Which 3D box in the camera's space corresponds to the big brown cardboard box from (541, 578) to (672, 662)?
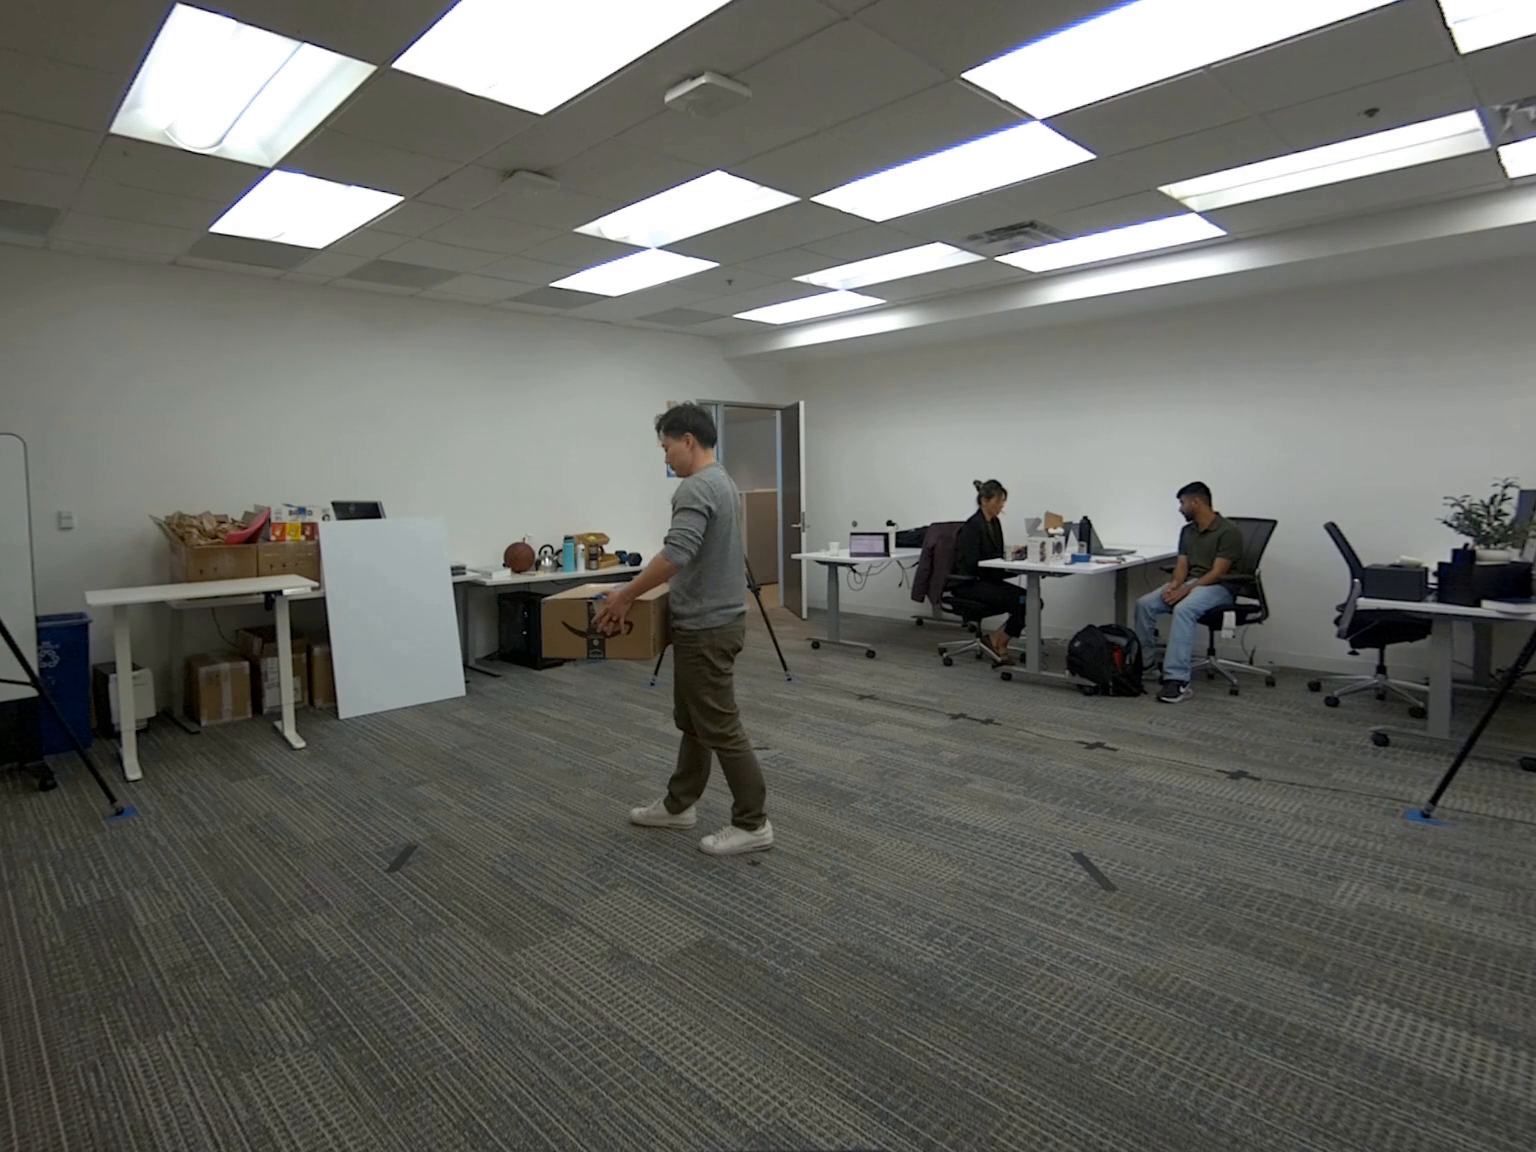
[{"bbox_3d":[-0.585,0.154,3.335,0.420,0.232,0.588,0,5,5],"label":"big brown cardboard box"}]
